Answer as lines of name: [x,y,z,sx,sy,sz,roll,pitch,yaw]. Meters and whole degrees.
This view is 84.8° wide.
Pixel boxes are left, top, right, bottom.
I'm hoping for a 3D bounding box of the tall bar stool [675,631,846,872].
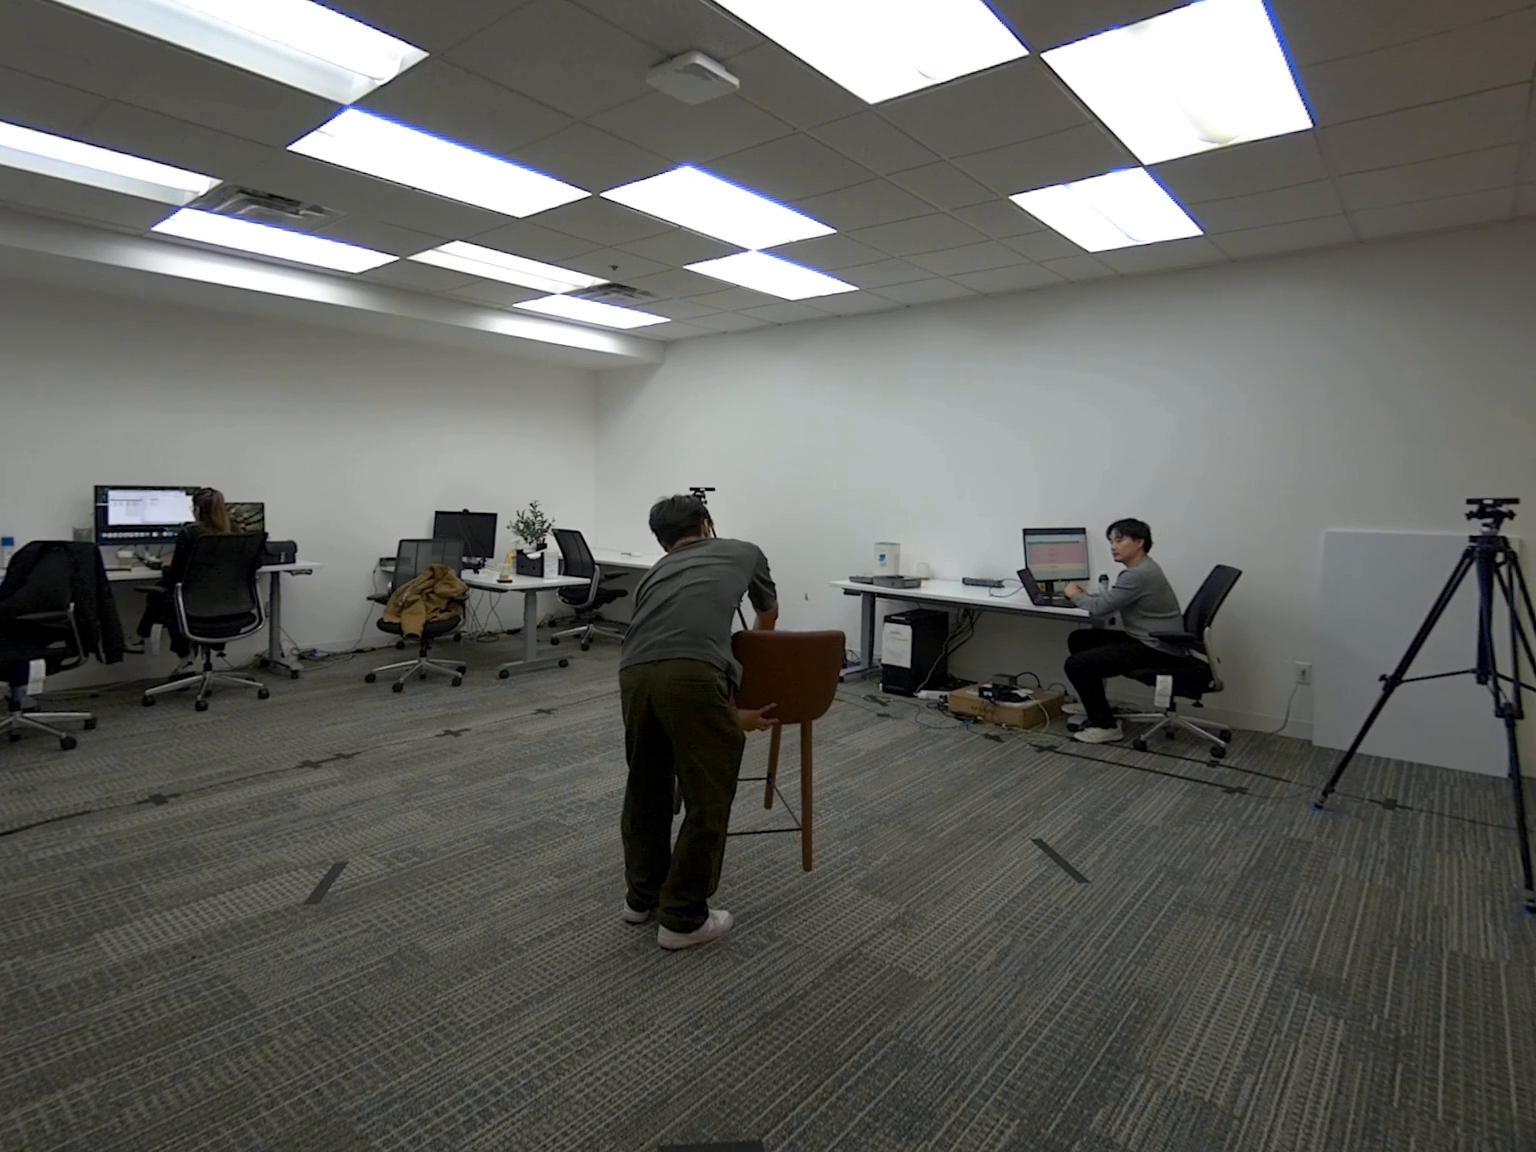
tall bar stool: [-0.050,0.544,3.005,0.447,0.881,0.482,3,13,-21]
